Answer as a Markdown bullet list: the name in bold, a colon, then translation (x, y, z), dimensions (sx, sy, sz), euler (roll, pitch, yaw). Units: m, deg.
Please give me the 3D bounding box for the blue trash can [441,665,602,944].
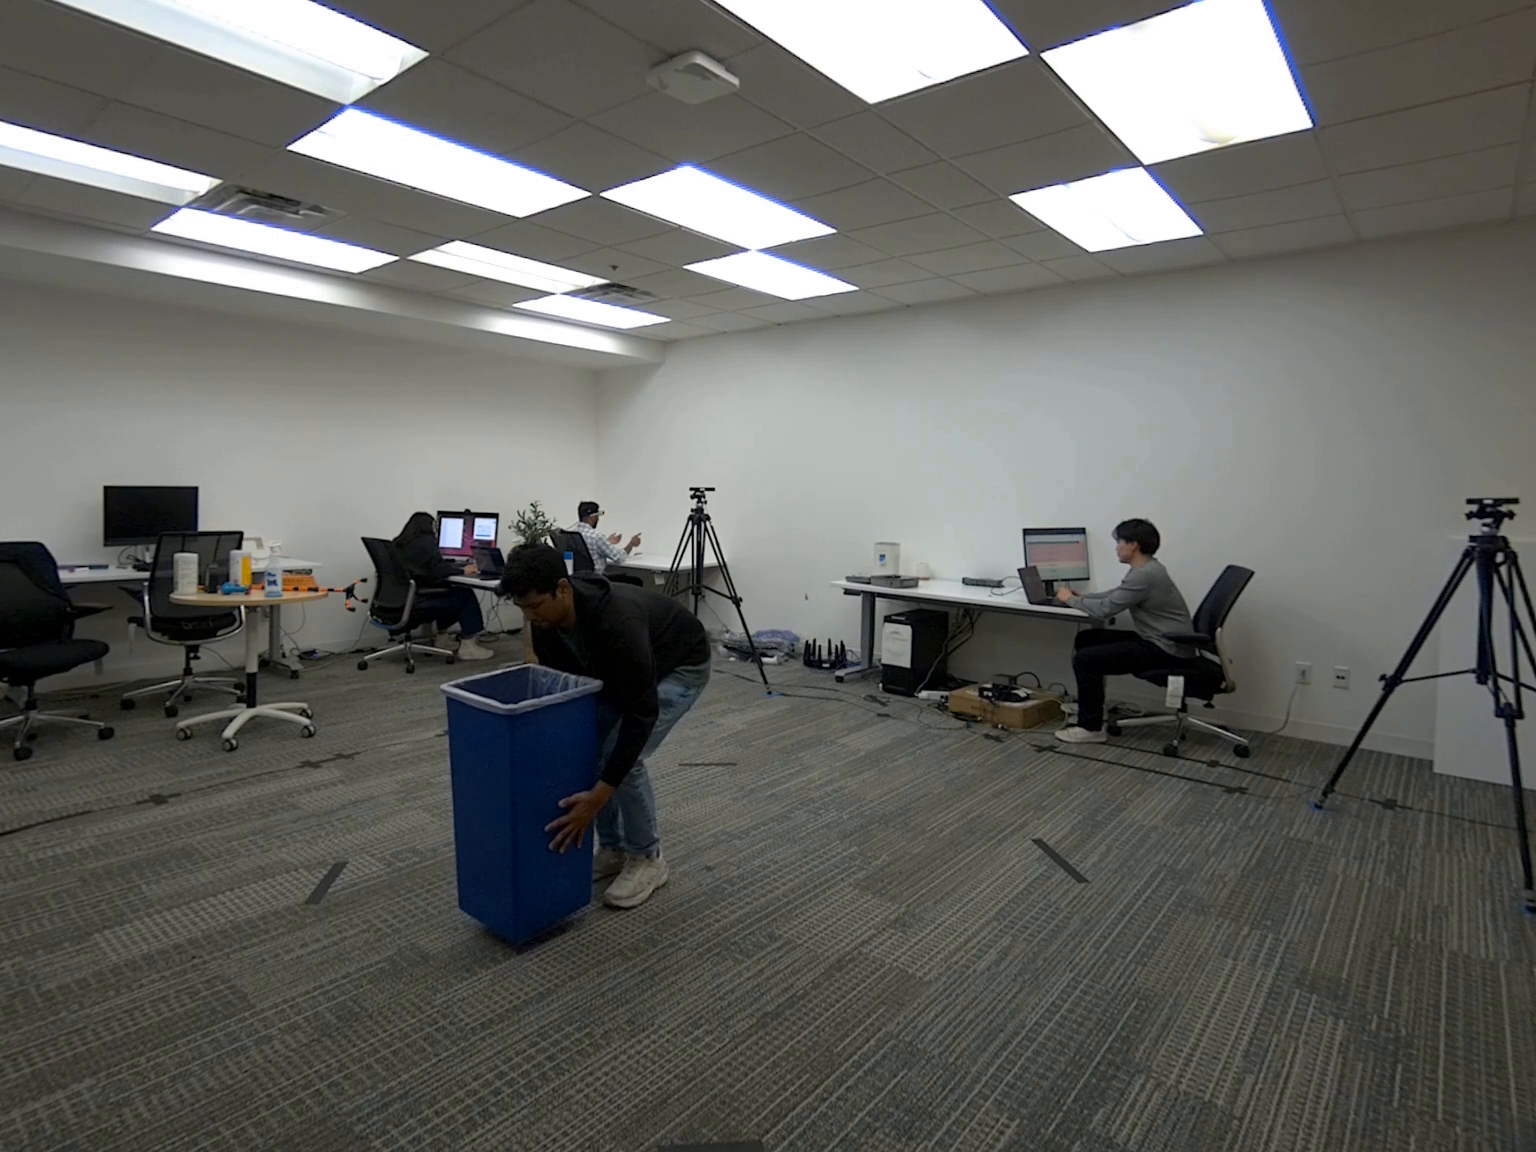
- **blue trash can**: translation (-0.779, 0.682, 2.635), dimensions (0.391, 0.710, 0.364), euler (4, 7, 37)
